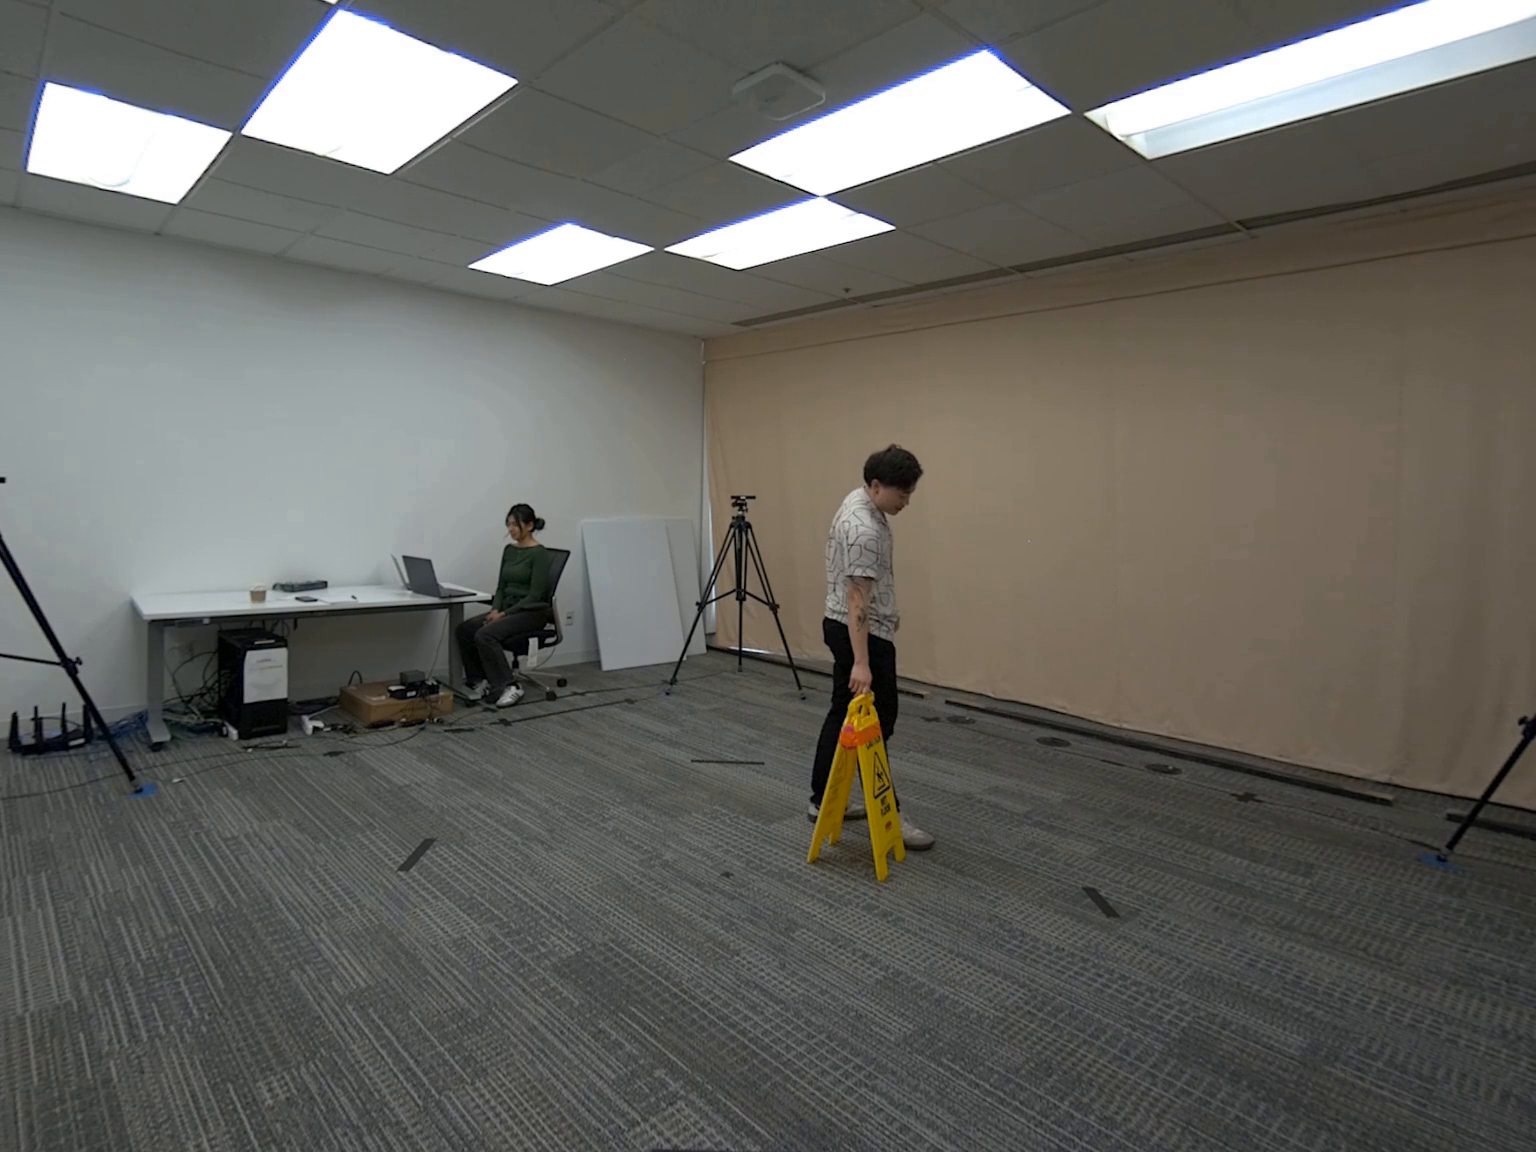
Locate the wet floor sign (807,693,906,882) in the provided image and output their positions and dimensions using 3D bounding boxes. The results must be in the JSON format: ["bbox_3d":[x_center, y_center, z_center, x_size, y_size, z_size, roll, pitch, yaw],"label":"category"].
[{"bbox_3d":[0.341,0.778,3.242,0.296,0.645,0.277,2,2,29],"label":"wet floor sign"}]
